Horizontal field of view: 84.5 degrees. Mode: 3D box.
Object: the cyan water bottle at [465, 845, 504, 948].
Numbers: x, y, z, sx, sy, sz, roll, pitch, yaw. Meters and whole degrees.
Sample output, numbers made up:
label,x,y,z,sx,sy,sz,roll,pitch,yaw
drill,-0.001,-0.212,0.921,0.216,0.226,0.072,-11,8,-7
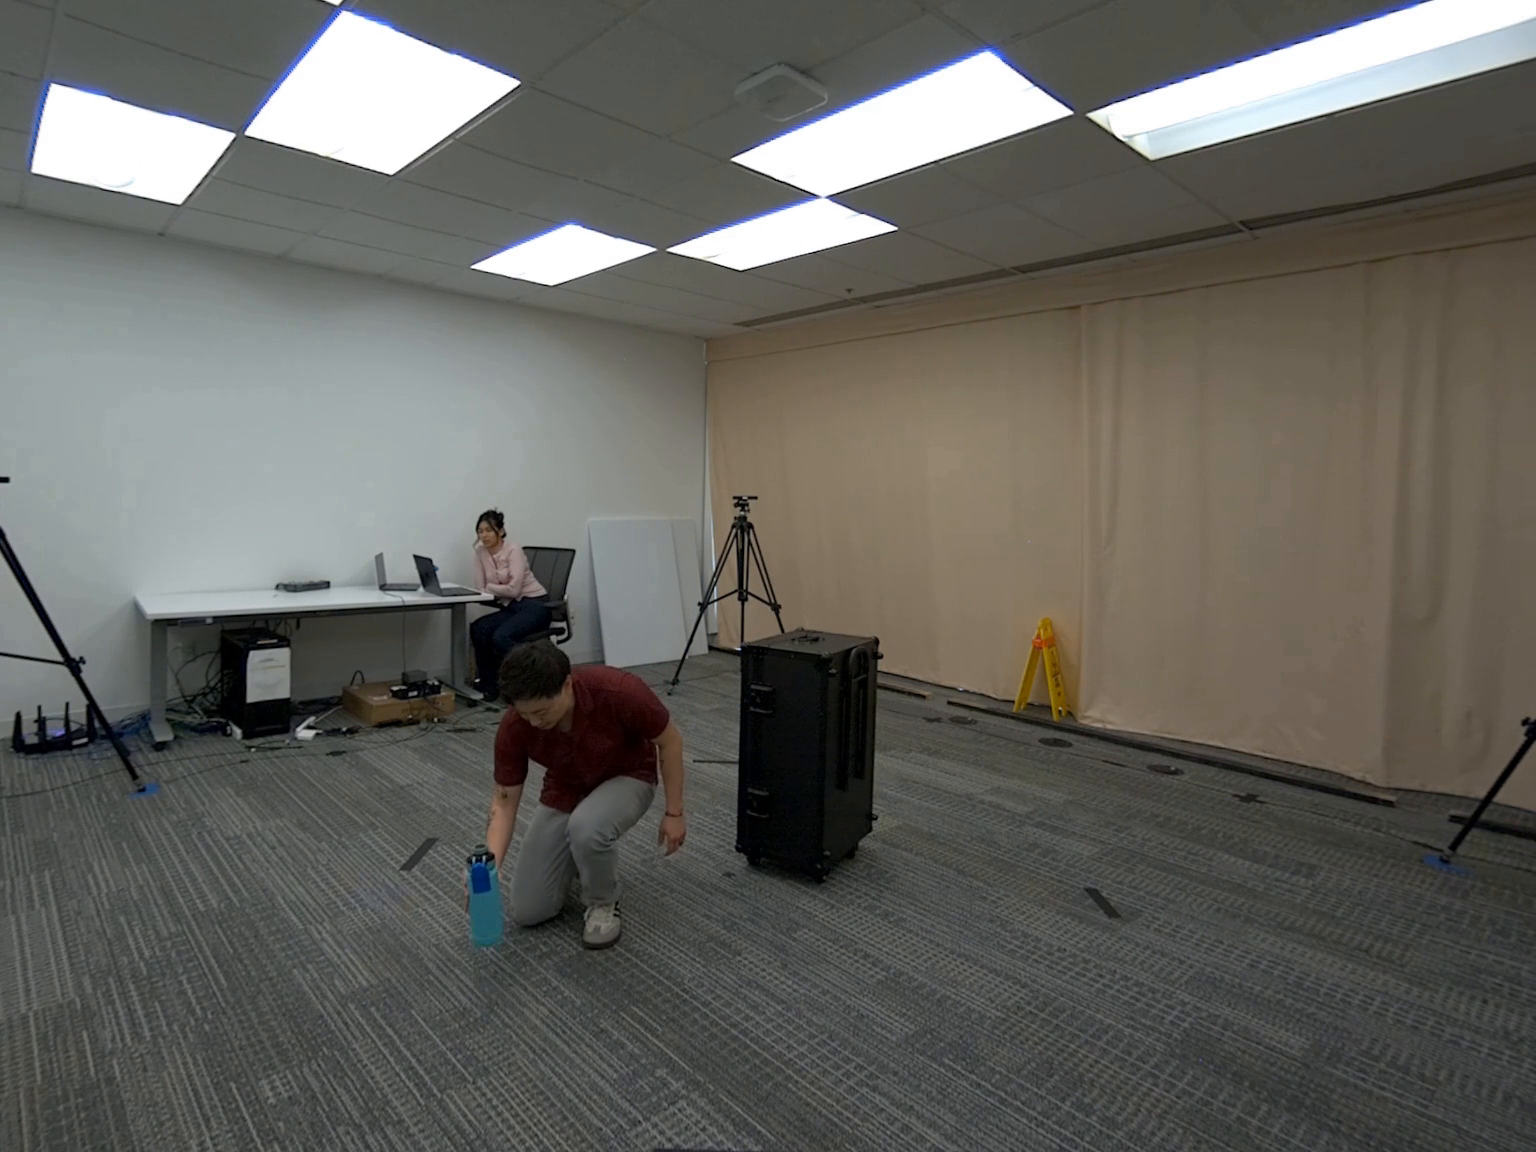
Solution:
label,x,y,z,sx,sy,sz,roll,pitch,yaw
cyan water bottle,-0.818,0.908,2.381,0.092,0.280,0.093,-1,15,-1
